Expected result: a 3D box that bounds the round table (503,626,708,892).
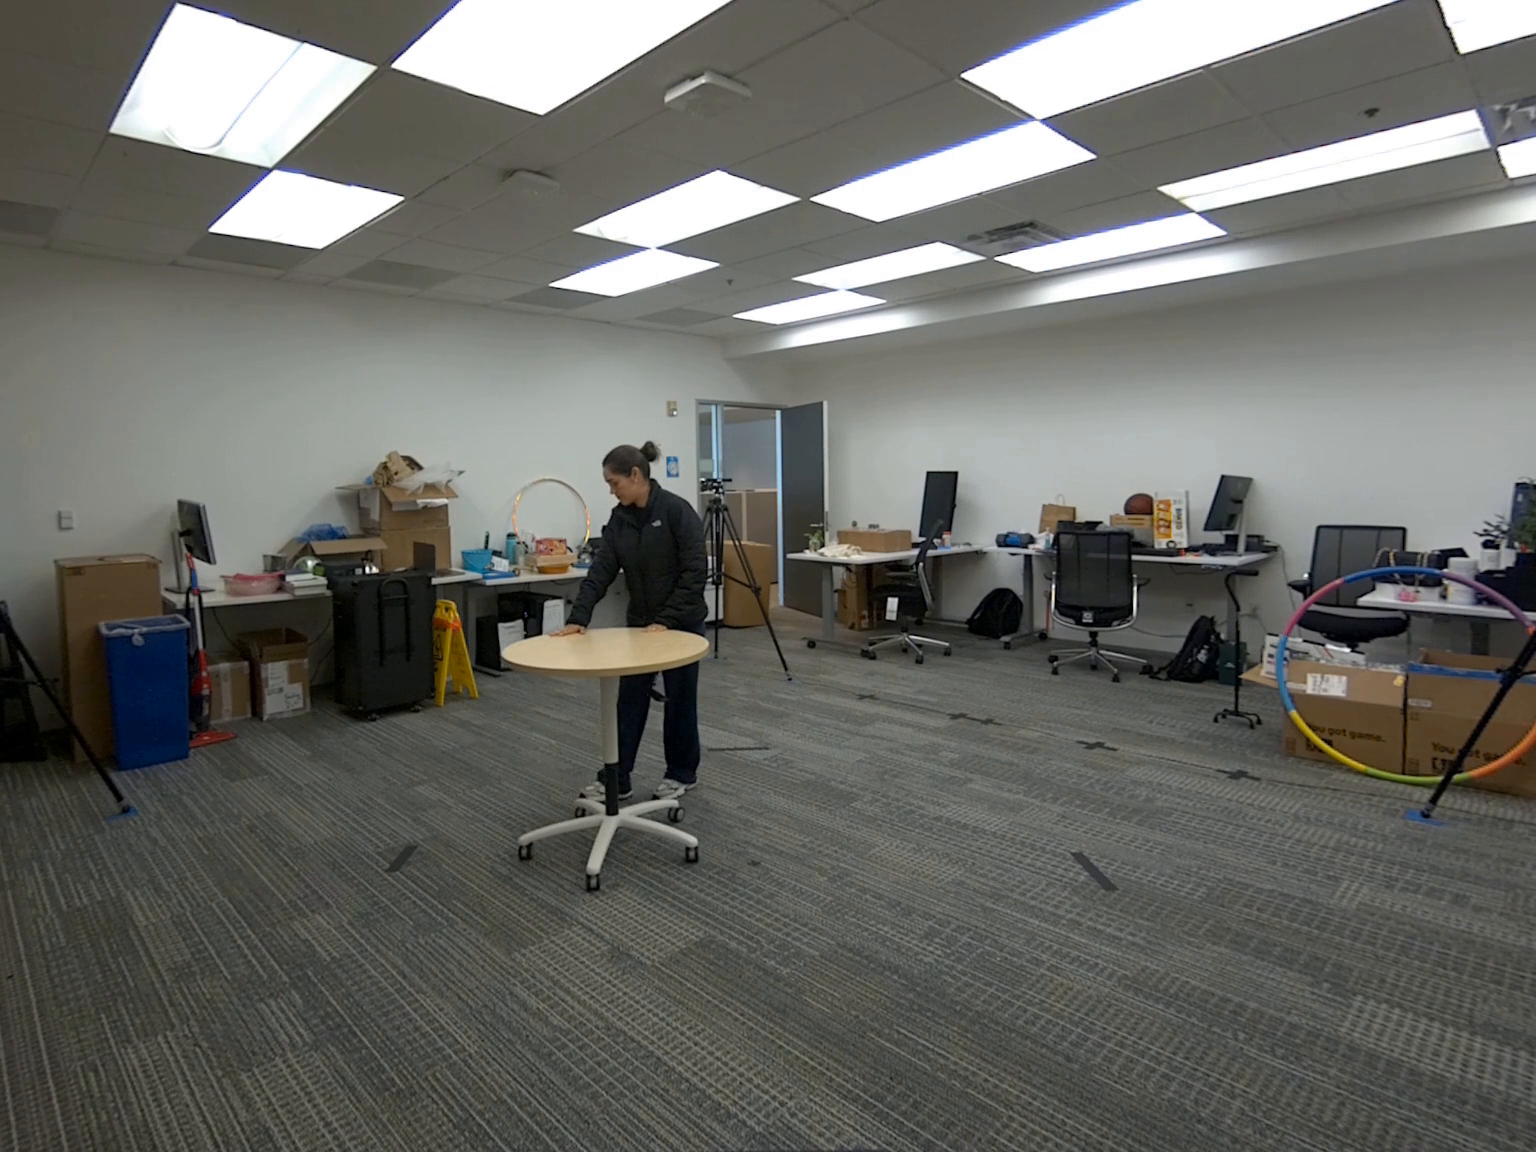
[{"bbox_3d":[-0.605,0.650,3.242,0.784,0.783,0.789,-1,5,-2],"label":"round table"}]
